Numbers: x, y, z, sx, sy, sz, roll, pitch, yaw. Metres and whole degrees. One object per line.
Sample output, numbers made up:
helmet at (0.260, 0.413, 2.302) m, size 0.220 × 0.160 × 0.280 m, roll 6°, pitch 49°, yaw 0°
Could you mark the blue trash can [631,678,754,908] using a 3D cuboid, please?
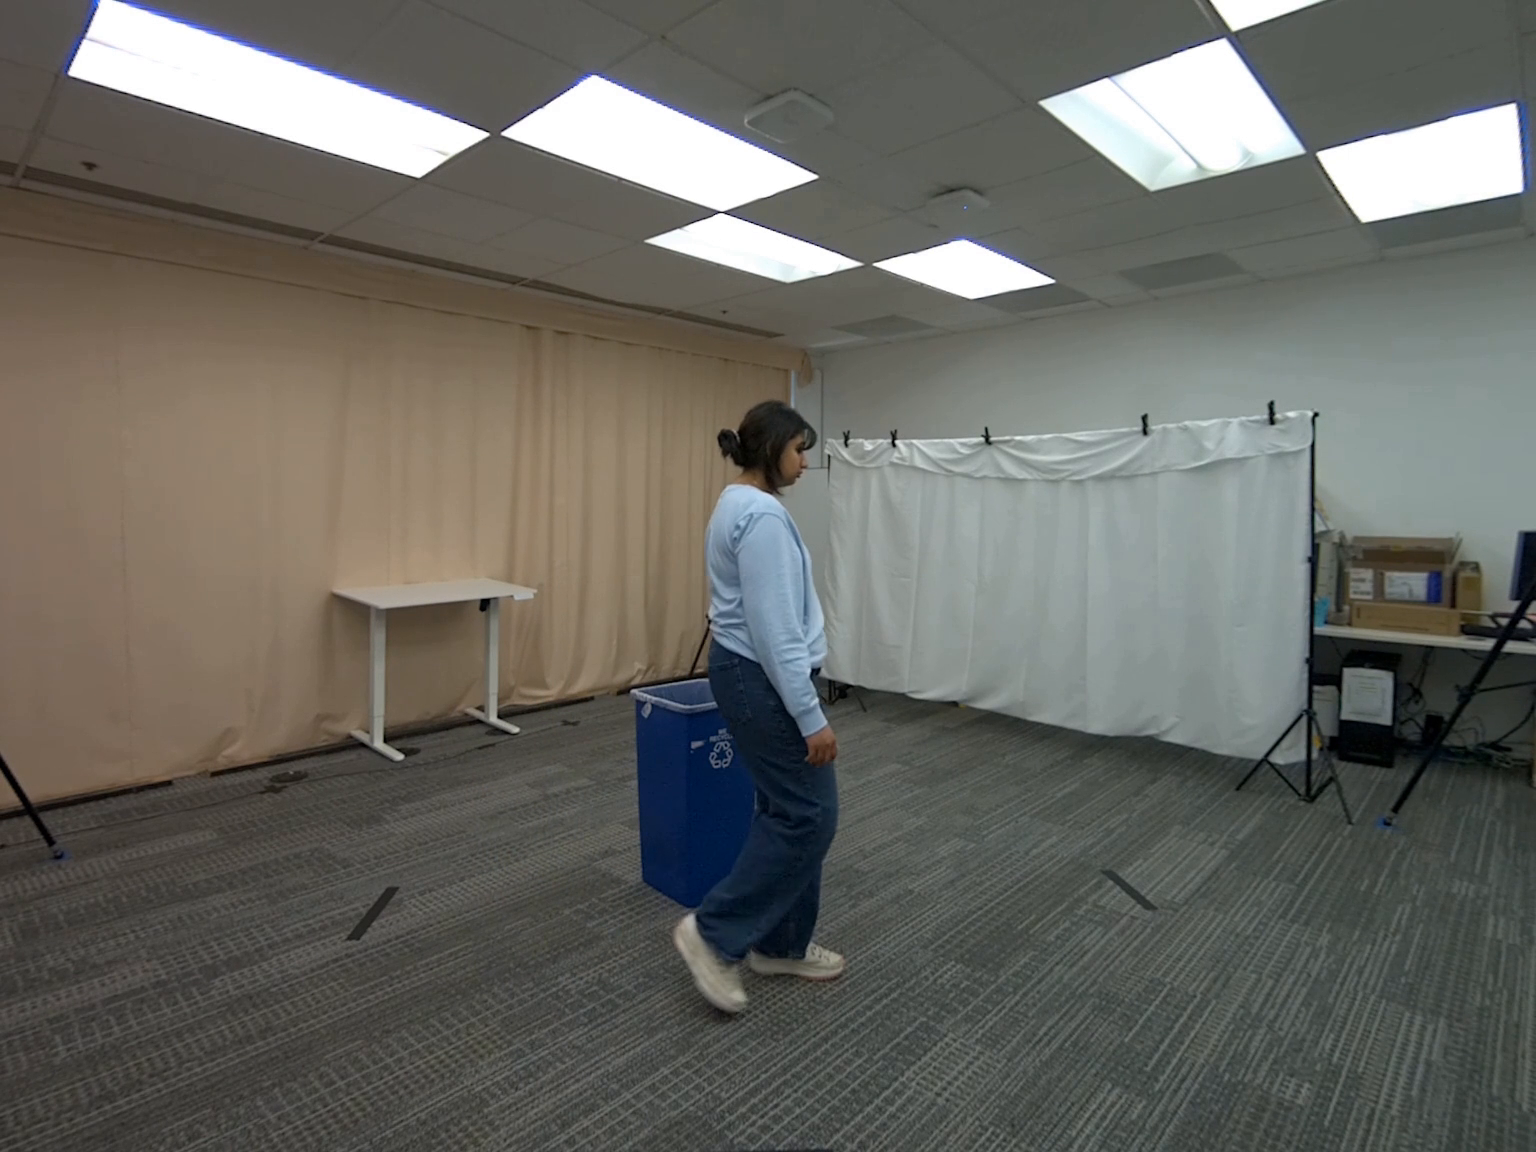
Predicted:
blue trash can at (-0.258, 0.777, 3.101) m, size 0.363 × 0.712 × 0.390 m, roll -3°, pitch 5°, yaw -41°
